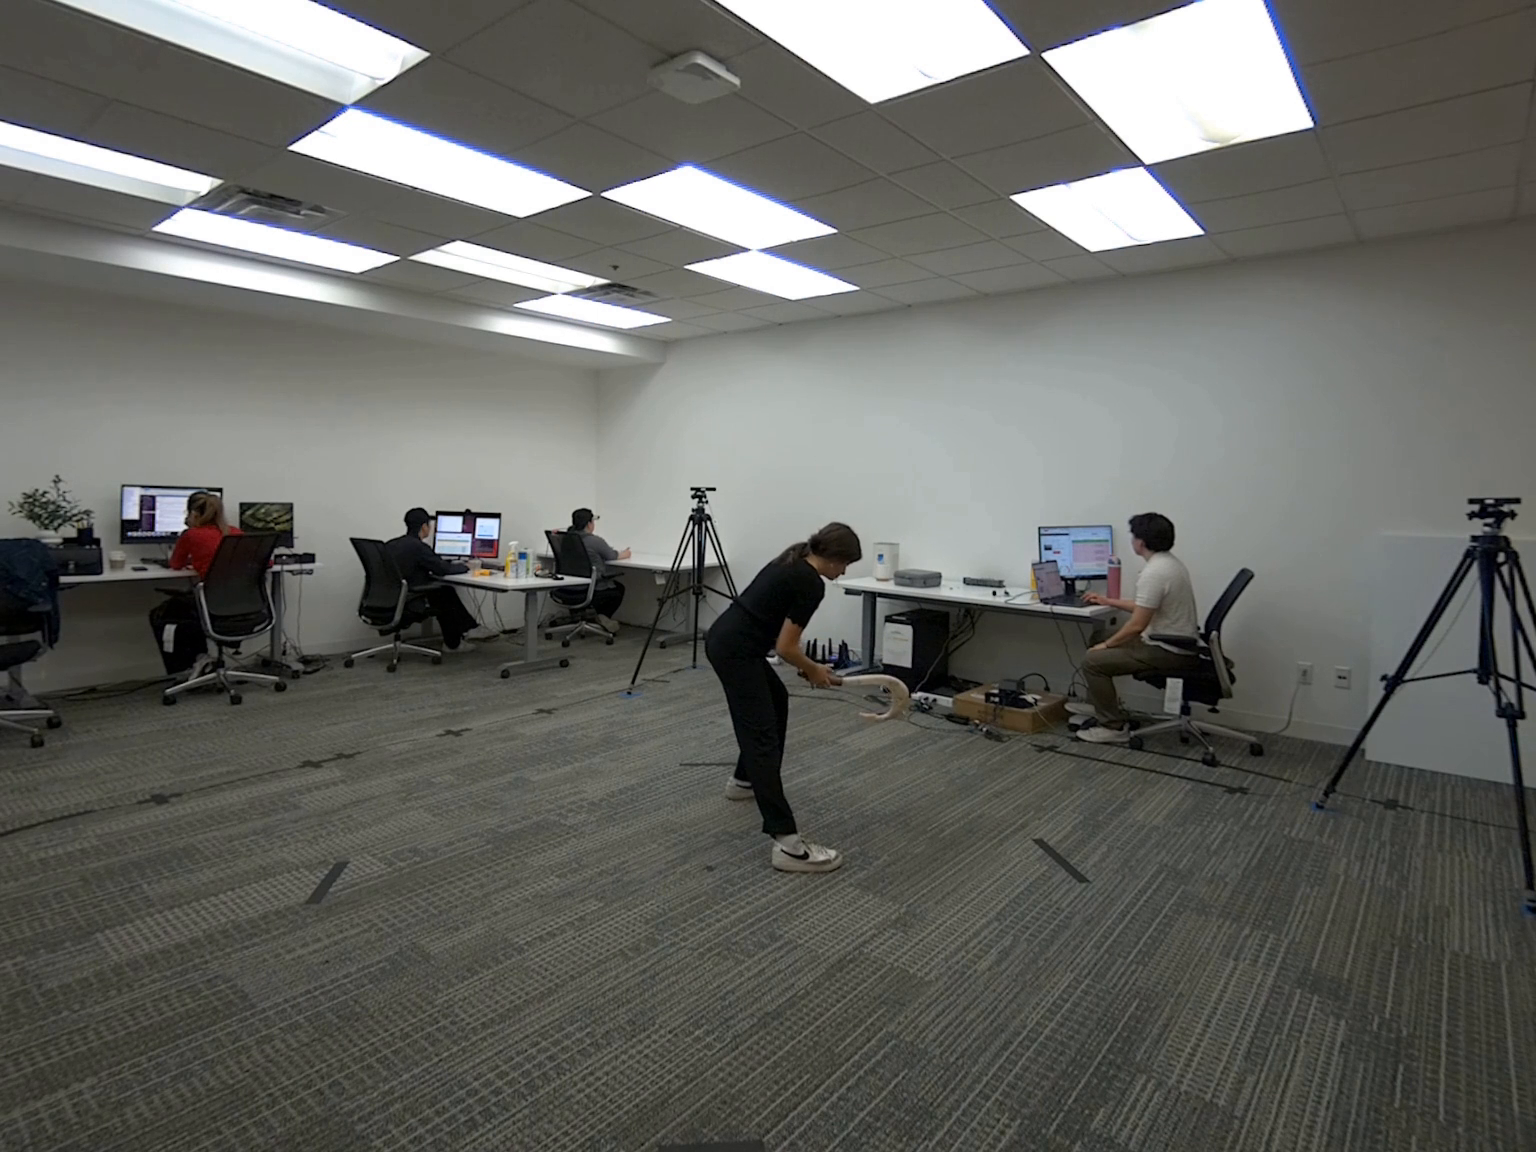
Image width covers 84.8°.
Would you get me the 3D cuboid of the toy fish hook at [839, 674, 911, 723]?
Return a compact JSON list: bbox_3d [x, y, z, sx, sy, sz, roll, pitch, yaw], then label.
[{"bbox_3d":[0.357,0.524,3.745,0.505,0.223,0.049,11,11,-2],"label":"toy fish hook"}]
